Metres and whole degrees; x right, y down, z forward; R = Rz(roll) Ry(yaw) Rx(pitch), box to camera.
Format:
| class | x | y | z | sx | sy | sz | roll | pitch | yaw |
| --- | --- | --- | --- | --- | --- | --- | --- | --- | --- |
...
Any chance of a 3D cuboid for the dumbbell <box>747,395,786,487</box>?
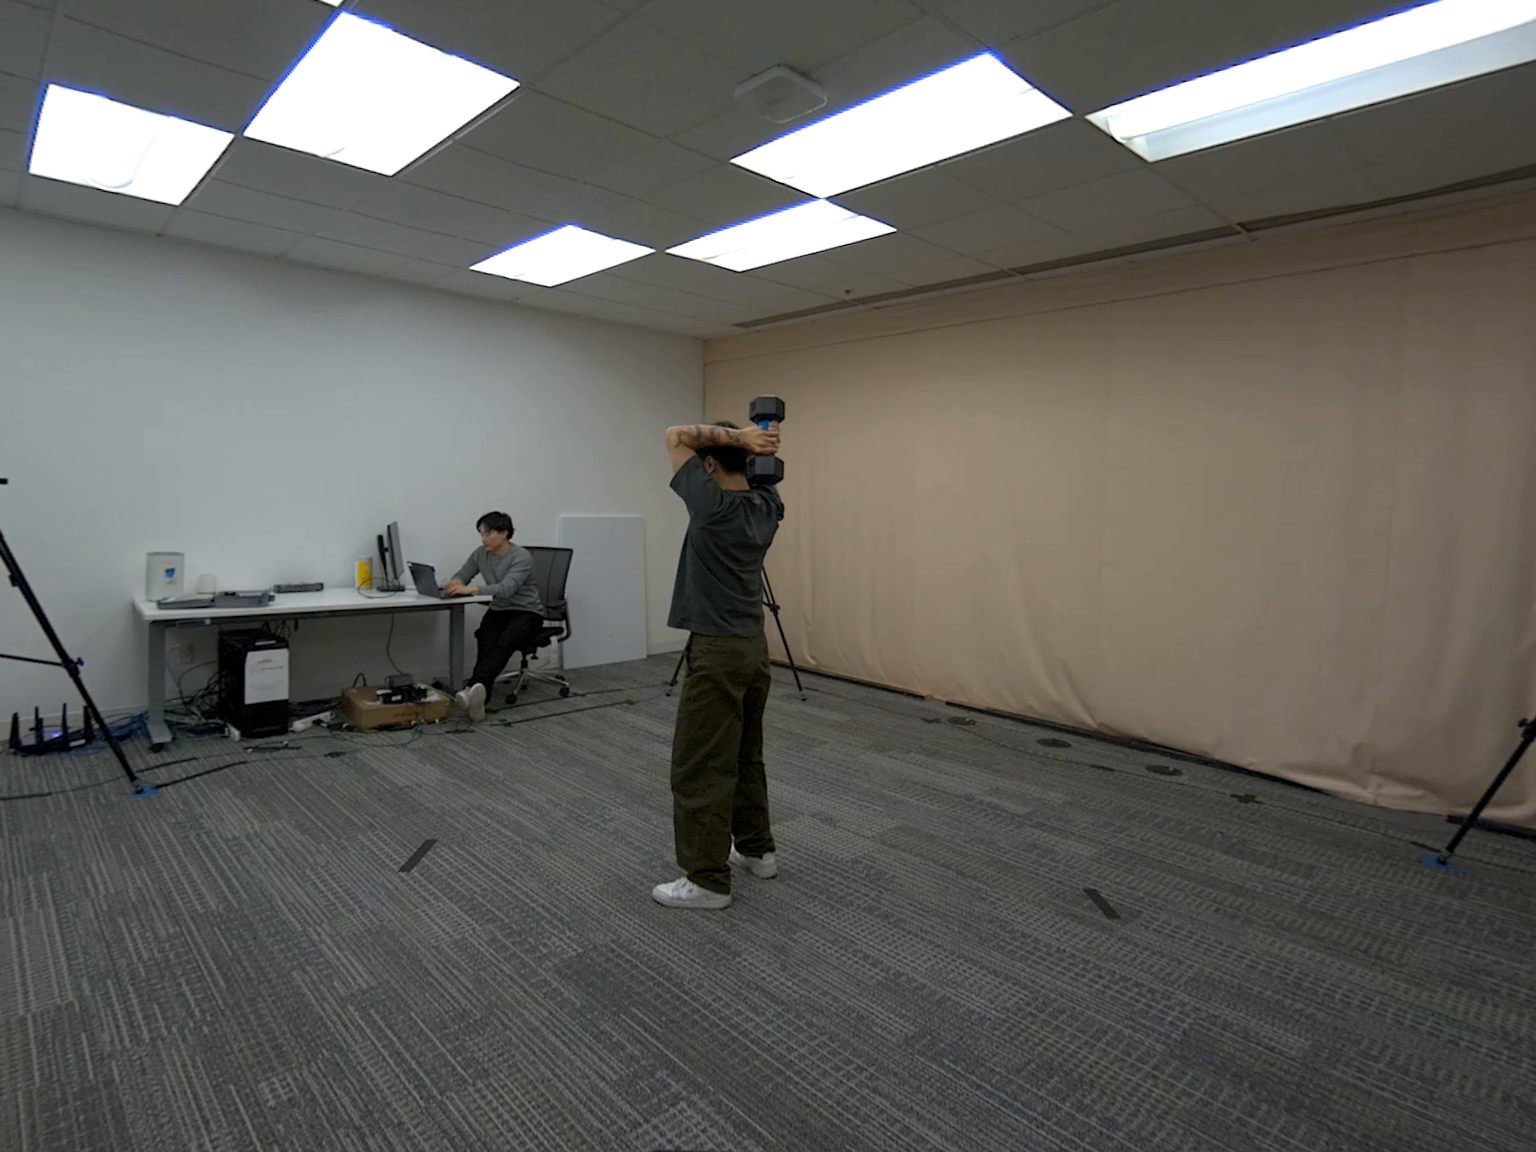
| class | x | y | z | sx | sy | sz | roll | pitch | yaw |
| --- | --- | --- | --- | --- | --- | --- | --- | --- | --- |
| dumbbell | -0.015 | -0.470 | 2.825 | 0.106 | 0.297 | 0.124 | 8 | -17 | -25 |
